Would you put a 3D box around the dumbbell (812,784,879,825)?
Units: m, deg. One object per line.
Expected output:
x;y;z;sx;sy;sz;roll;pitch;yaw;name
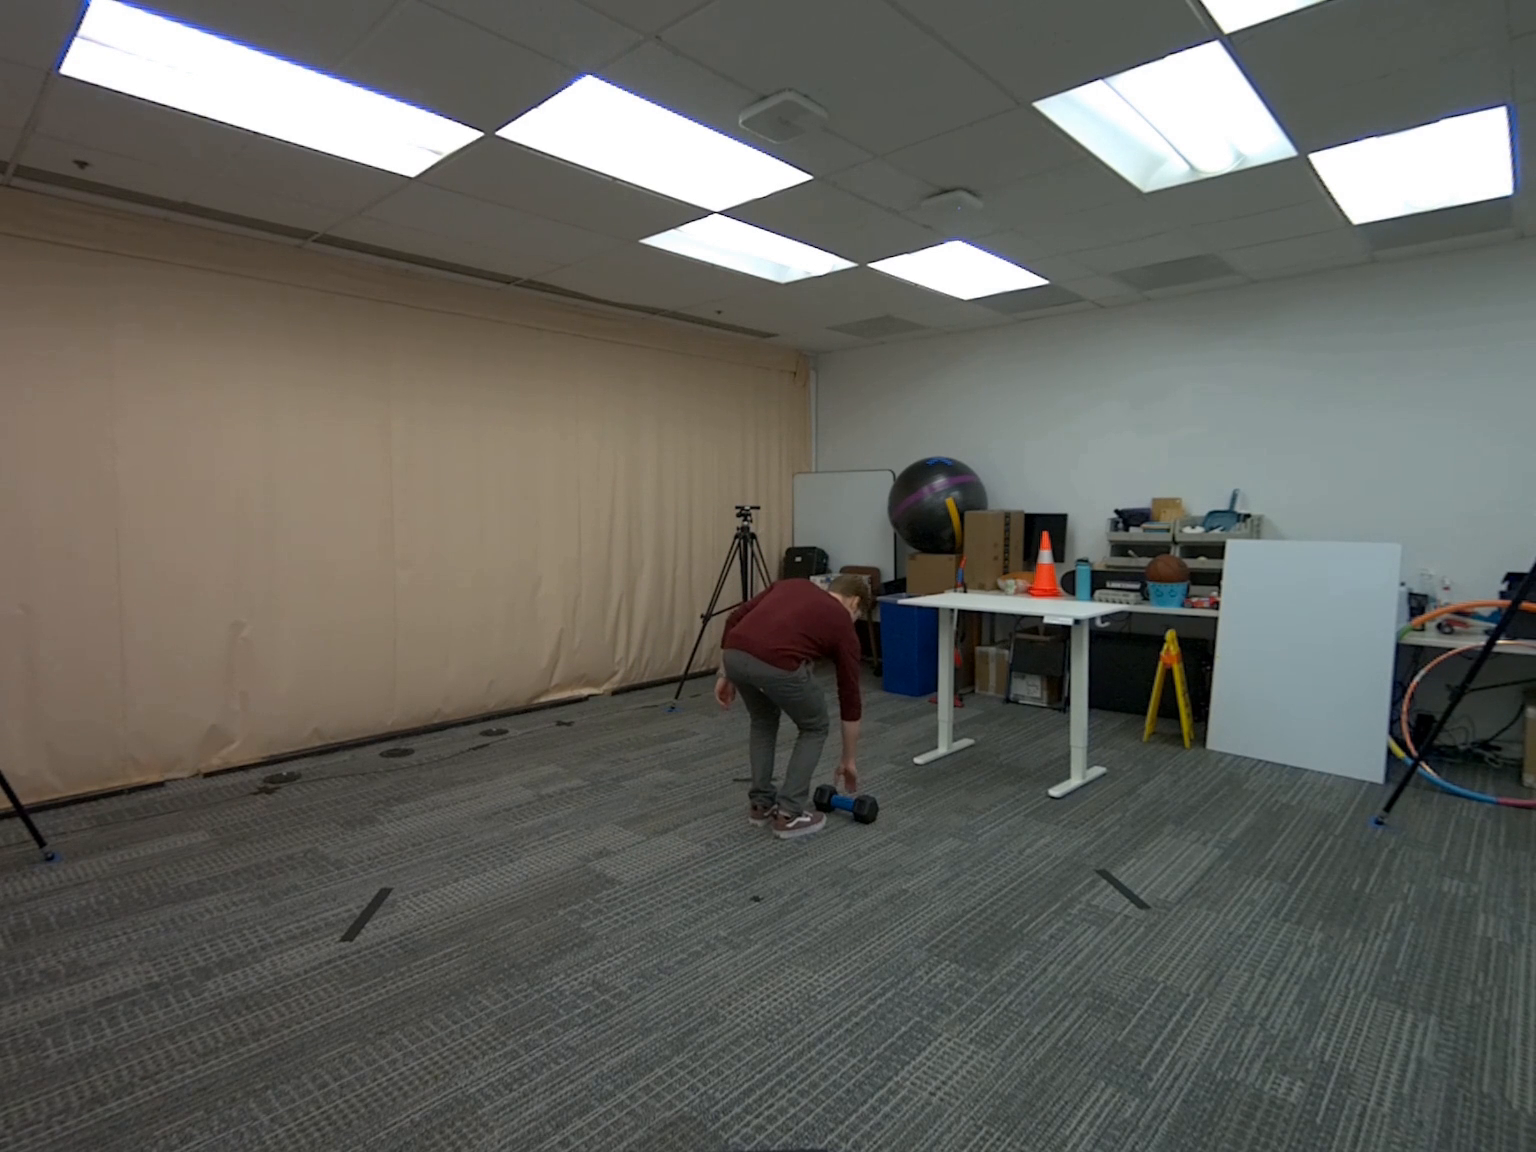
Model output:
0.351;1.025;3.787;0.303;0.123;0.105;5;-26;41;dumbbell
